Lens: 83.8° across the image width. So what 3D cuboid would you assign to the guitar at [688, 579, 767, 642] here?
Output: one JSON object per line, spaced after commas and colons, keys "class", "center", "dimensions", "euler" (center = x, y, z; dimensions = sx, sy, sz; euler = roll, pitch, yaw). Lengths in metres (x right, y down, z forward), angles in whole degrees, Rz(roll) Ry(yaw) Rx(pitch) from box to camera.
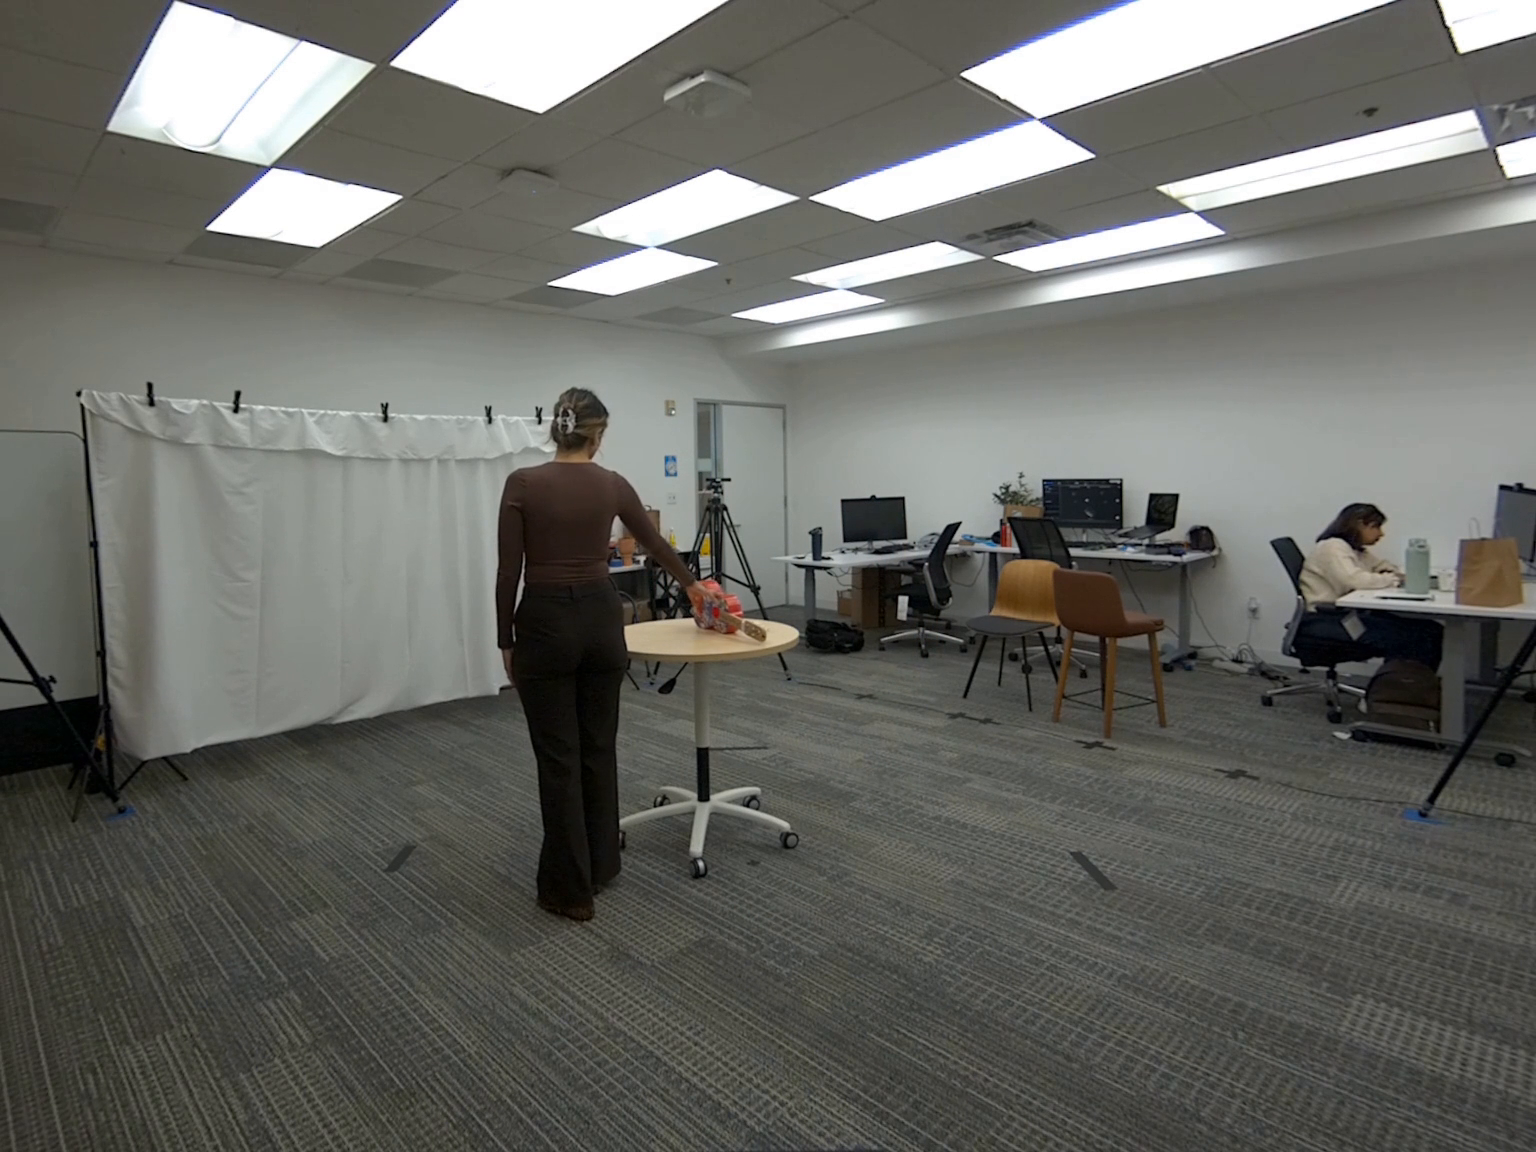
{"class": "guitar", "center": [-0.144, 0.183, 3.291], "dimensions": [0.069, 0.190, 0.517], "euler": [-7, 25, -33]}
